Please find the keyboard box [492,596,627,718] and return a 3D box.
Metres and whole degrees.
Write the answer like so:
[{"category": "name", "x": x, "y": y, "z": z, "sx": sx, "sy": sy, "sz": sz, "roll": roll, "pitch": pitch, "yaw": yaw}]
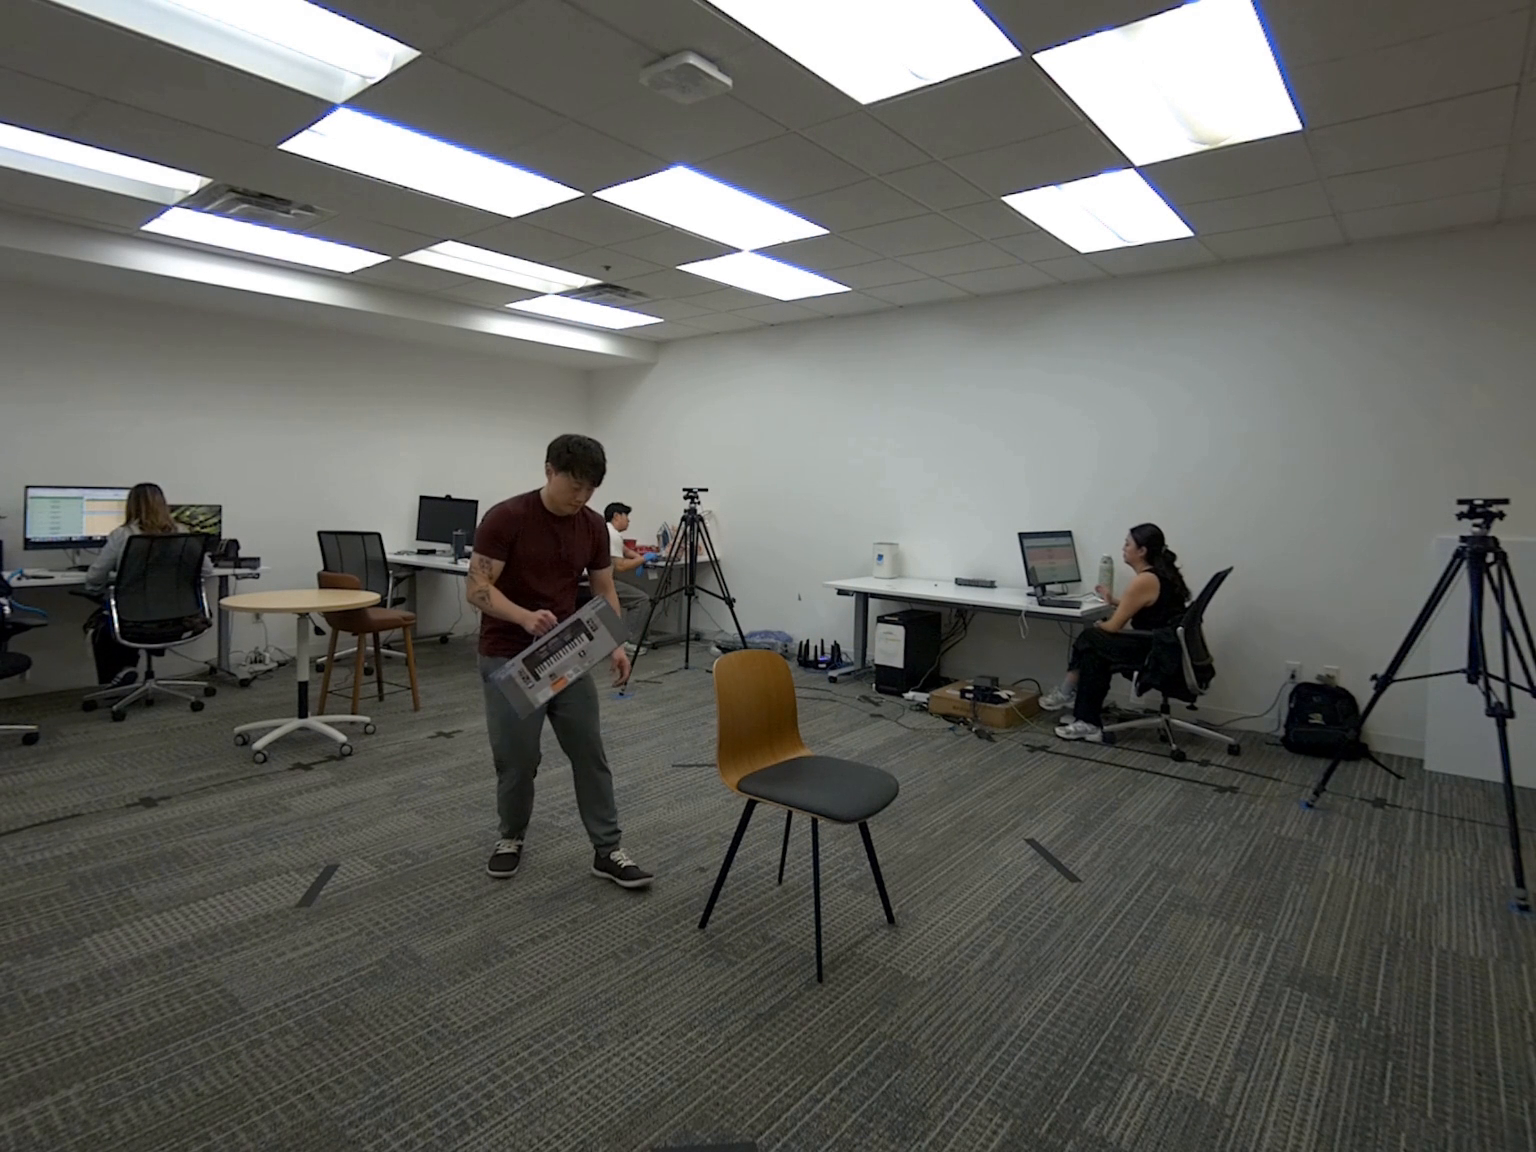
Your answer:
[{"category": "keyboard box", "x": -0.674, "y": 0.262, "z": 2.729, "sx": 0.435, "sy": 0.174, "sz": 0.060, "roll": -38, "pitch": 7, "yaw": -18}]
